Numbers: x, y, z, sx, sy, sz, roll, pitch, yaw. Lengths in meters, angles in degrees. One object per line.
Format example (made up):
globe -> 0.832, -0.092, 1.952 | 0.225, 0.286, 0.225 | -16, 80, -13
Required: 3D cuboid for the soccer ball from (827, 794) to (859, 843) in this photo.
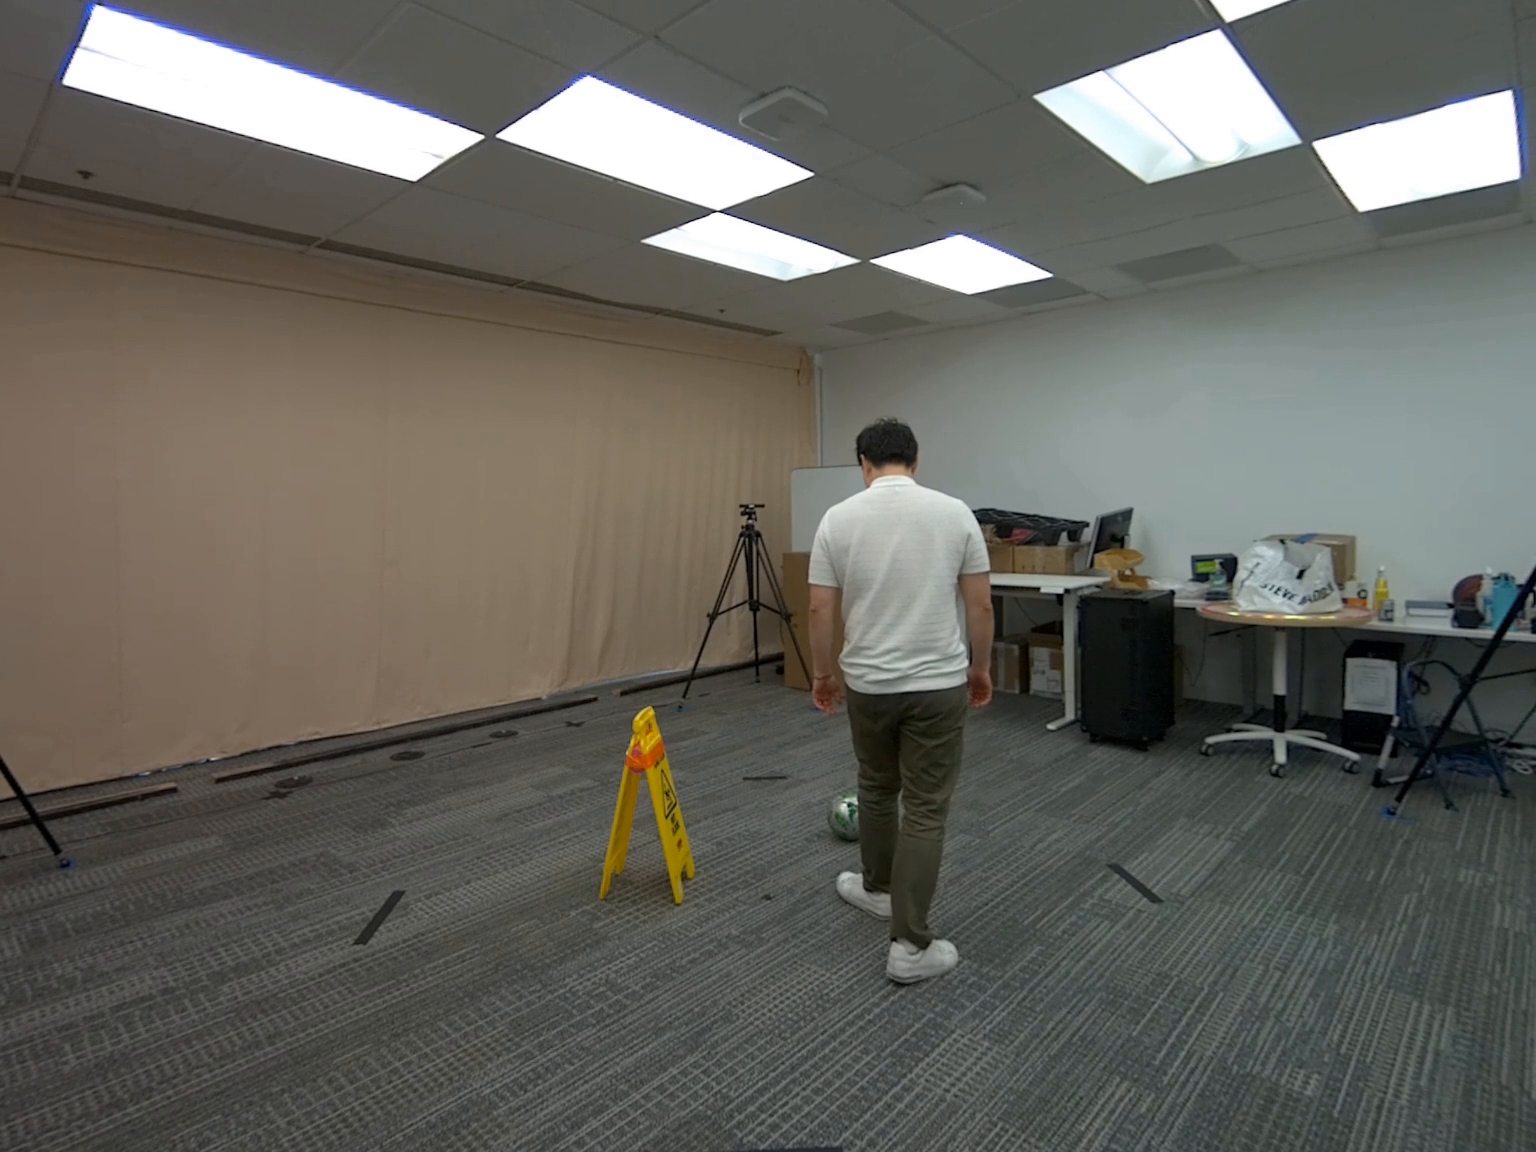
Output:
soccer ball -> 0.339, 0.994, 3.490 | 0.187, 0.187, 0.188 | -1, 4, -2
